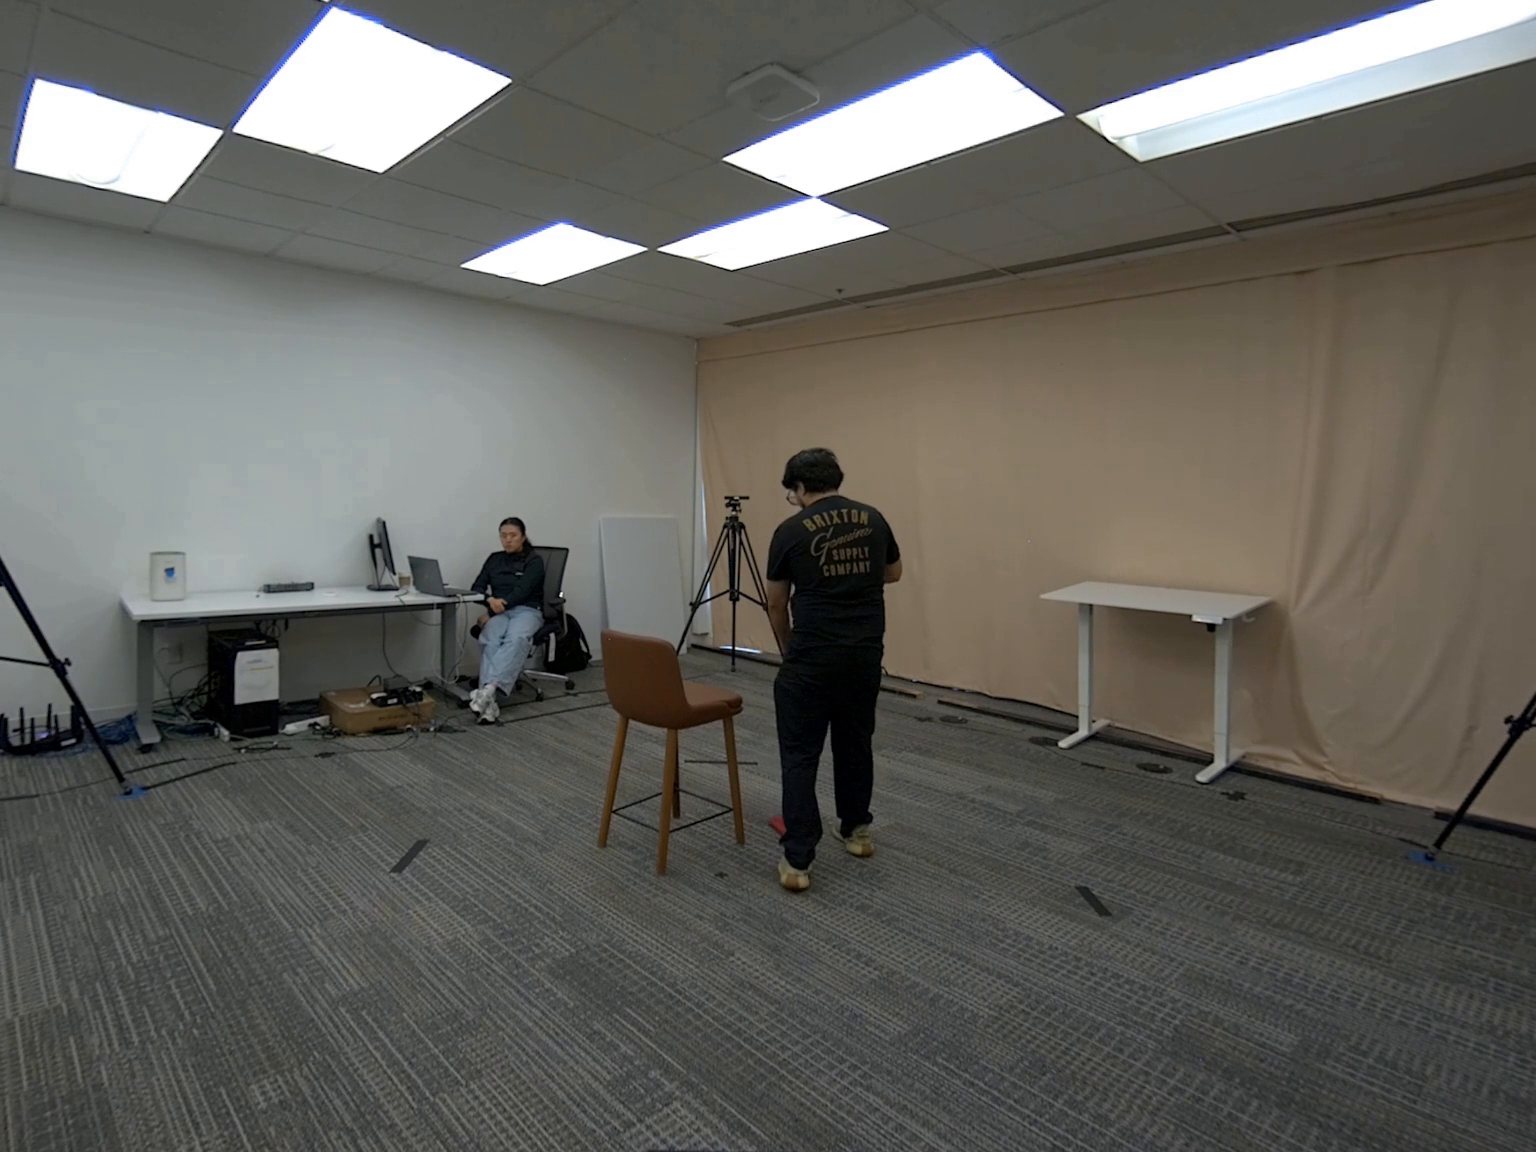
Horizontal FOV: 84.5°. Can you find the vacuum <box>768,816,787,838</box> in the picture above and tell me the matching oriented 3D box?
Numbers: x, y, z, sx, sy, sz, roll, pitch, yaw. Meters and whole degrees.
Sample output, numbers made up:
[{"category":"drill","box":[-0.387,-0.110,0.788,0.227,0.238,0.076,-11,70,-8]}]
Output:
[{"category":"vacuum","box":[0.167,0.536,3.521,0.142,1.050,0.256,6,-1,-19]}]
